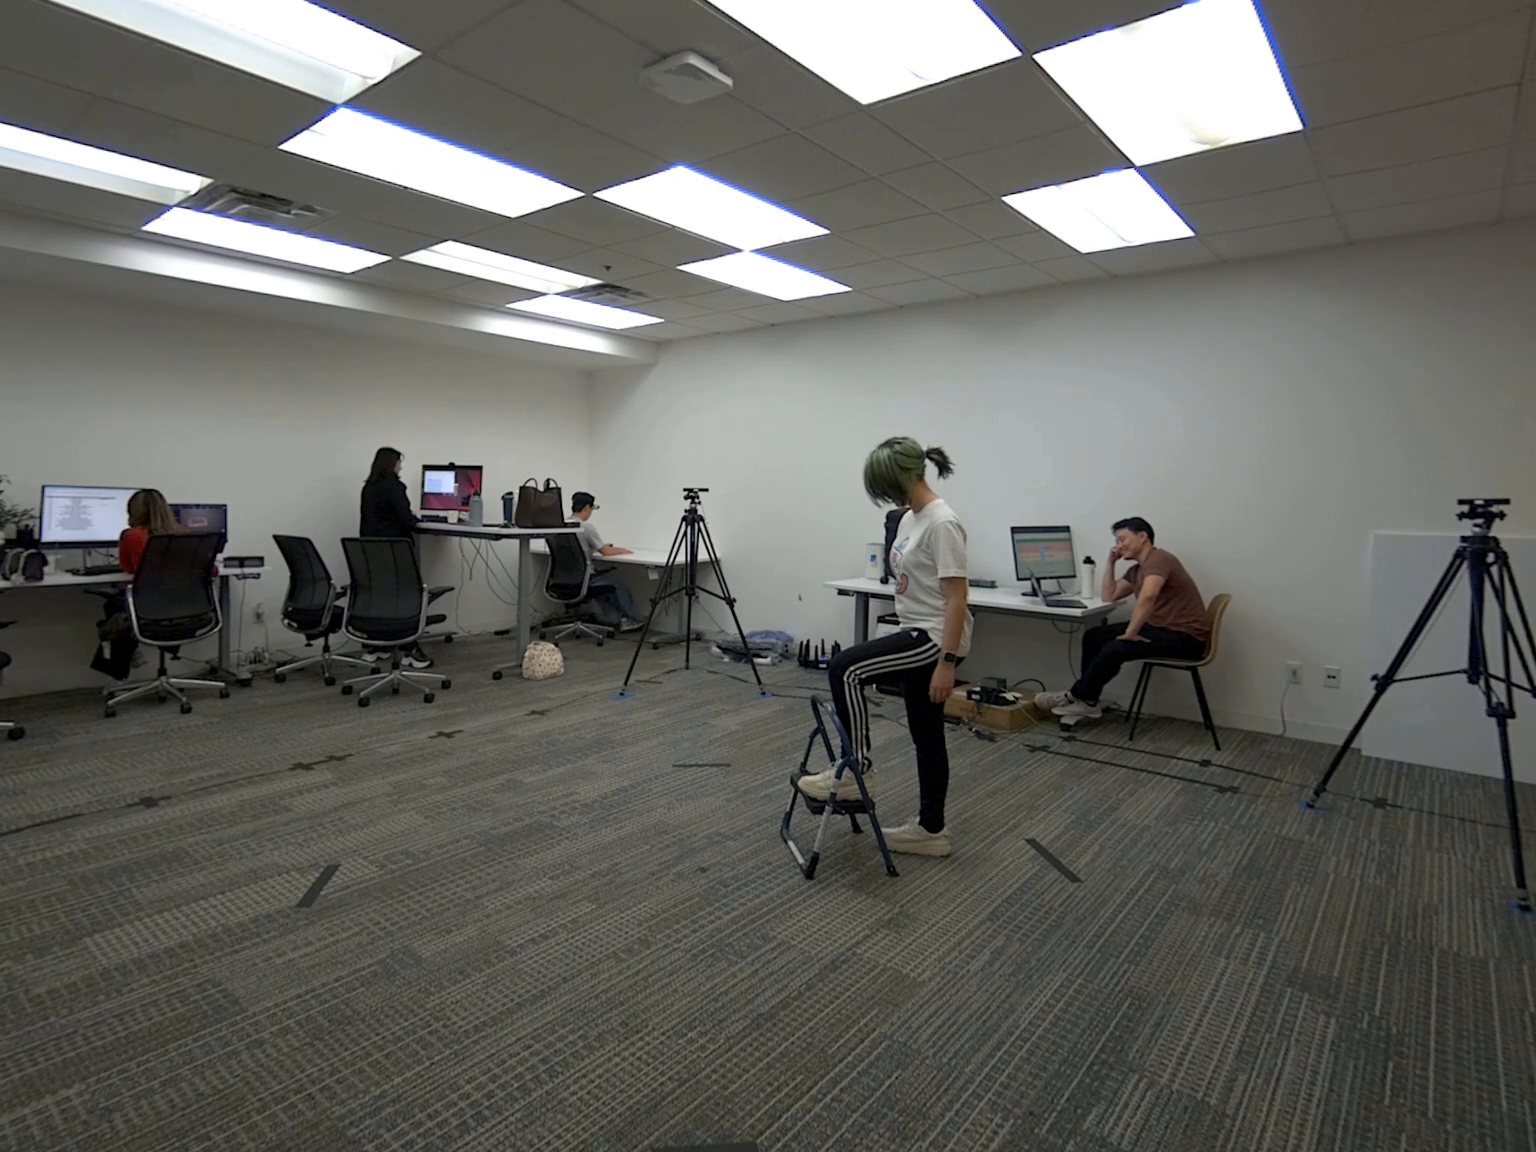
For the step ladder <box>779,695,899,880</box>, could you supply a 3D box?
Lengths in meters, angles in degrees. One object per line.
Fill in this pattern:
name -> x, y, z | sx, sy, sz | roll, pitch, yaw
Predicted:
step ladder -> 0.259, 0.769, 3.258 | 0.345, 0.604, 0.437 | 1, 3, -13
